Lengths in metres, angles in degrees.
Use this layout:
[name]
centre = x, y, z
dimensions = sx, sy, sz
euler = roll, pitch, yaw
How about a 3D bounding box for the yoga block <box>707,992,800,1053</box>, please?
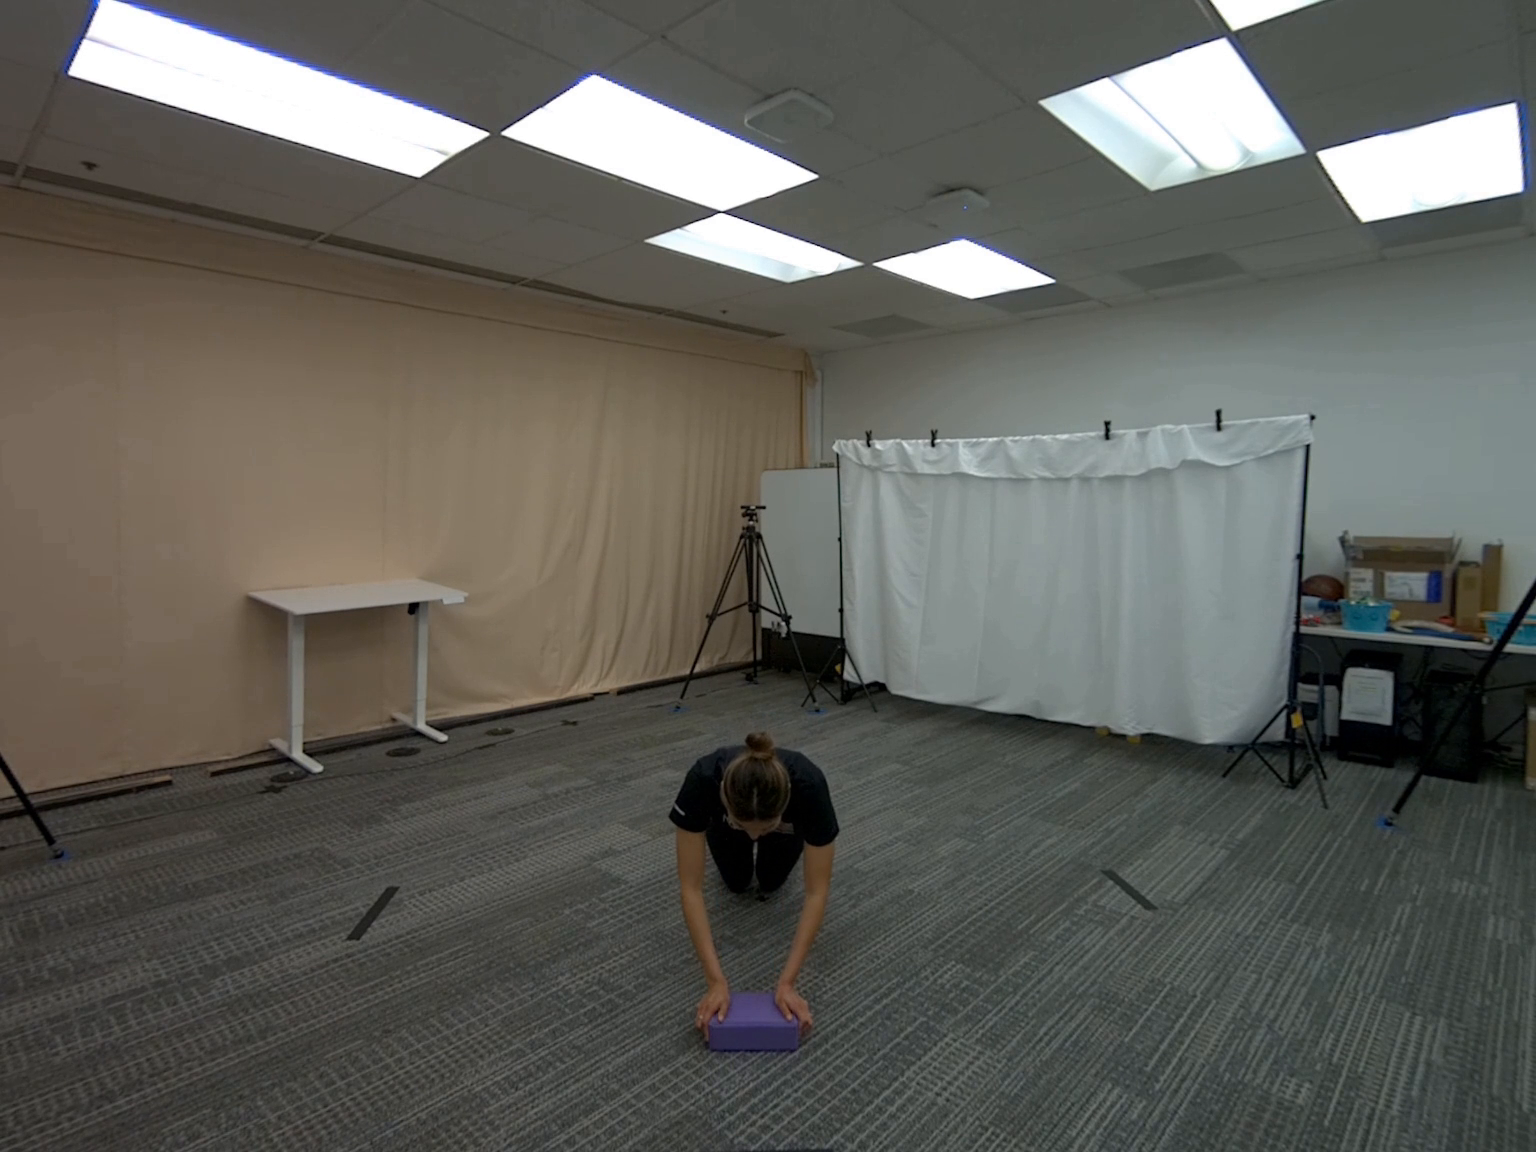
[yoga block]
centre = -0.046, 1.164, 2.220
dimensions = 0.229, 0.076, 0.149
euler = -2, 5, -1
